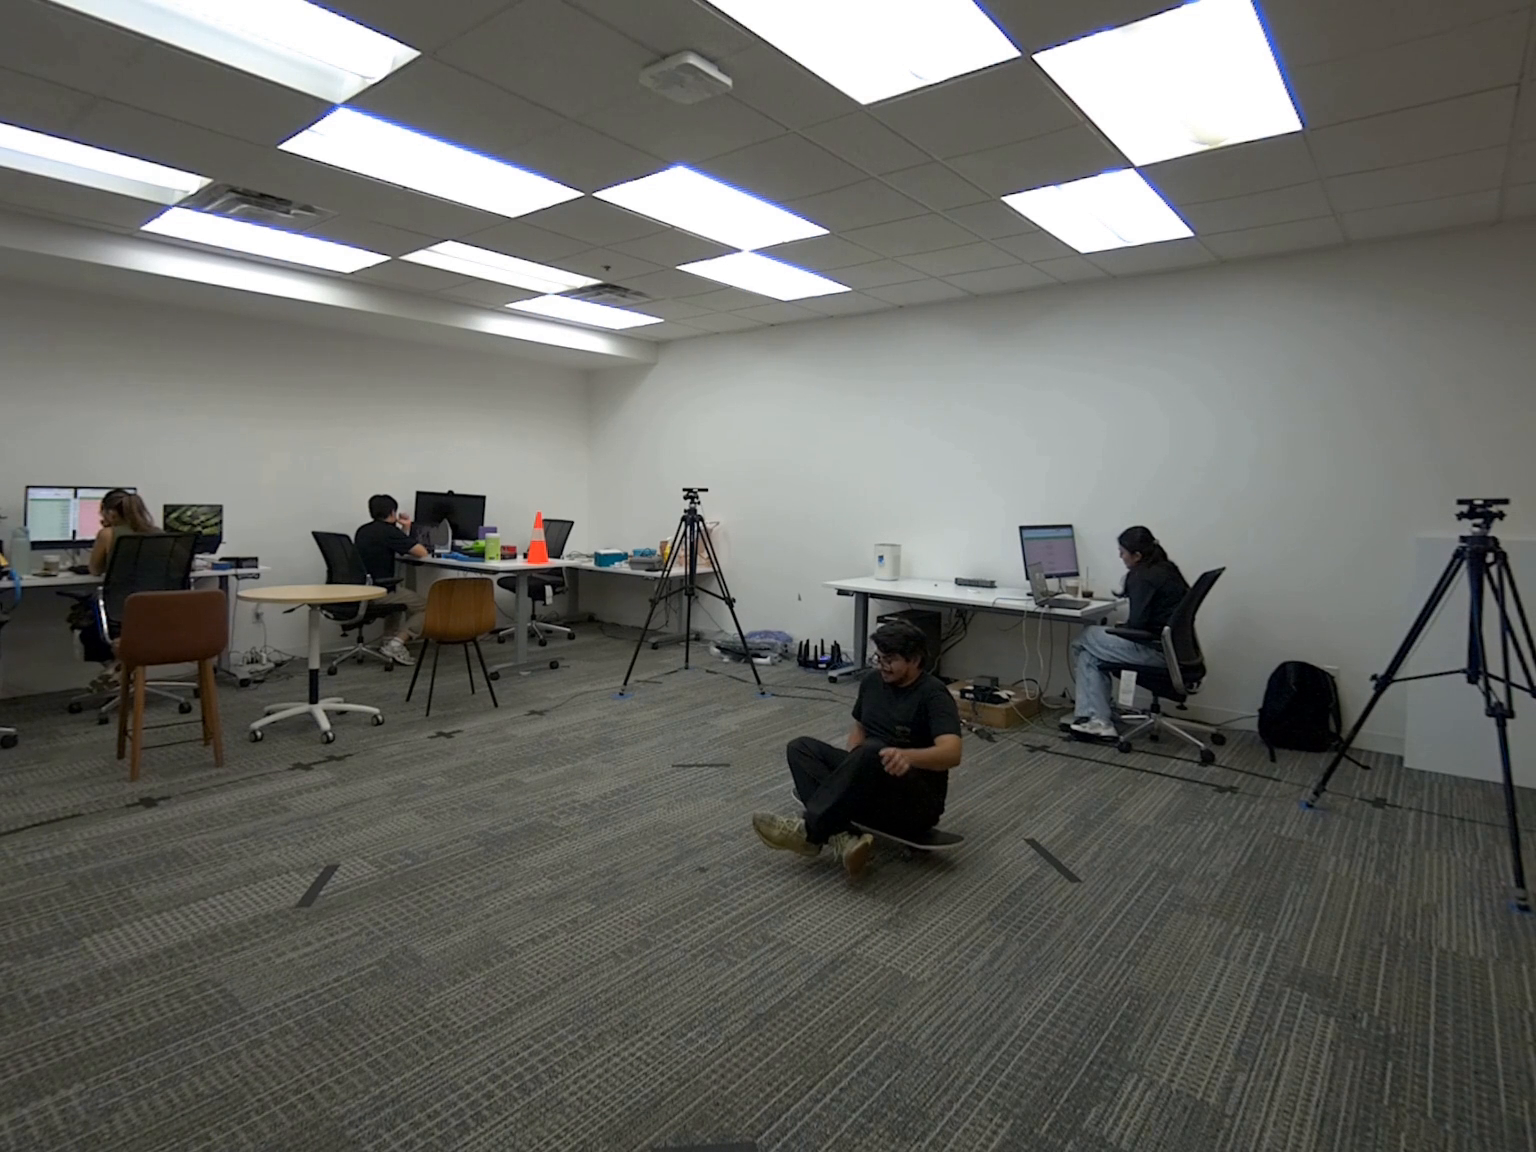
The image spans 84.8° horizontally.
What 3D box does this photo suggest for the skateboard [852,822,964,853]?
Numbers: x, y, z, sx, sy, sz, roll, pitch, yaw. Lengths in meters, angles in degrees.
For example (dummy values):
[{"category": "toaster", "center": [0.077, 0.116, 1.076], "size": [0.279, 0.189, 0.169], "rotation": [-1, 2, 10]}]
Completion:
[{"category": "skateboard", "center": [0.399, 0.994, 3.413], "size": [0.187, 0.110, 0.813], "rotation": [-1, 6, -44]}]
